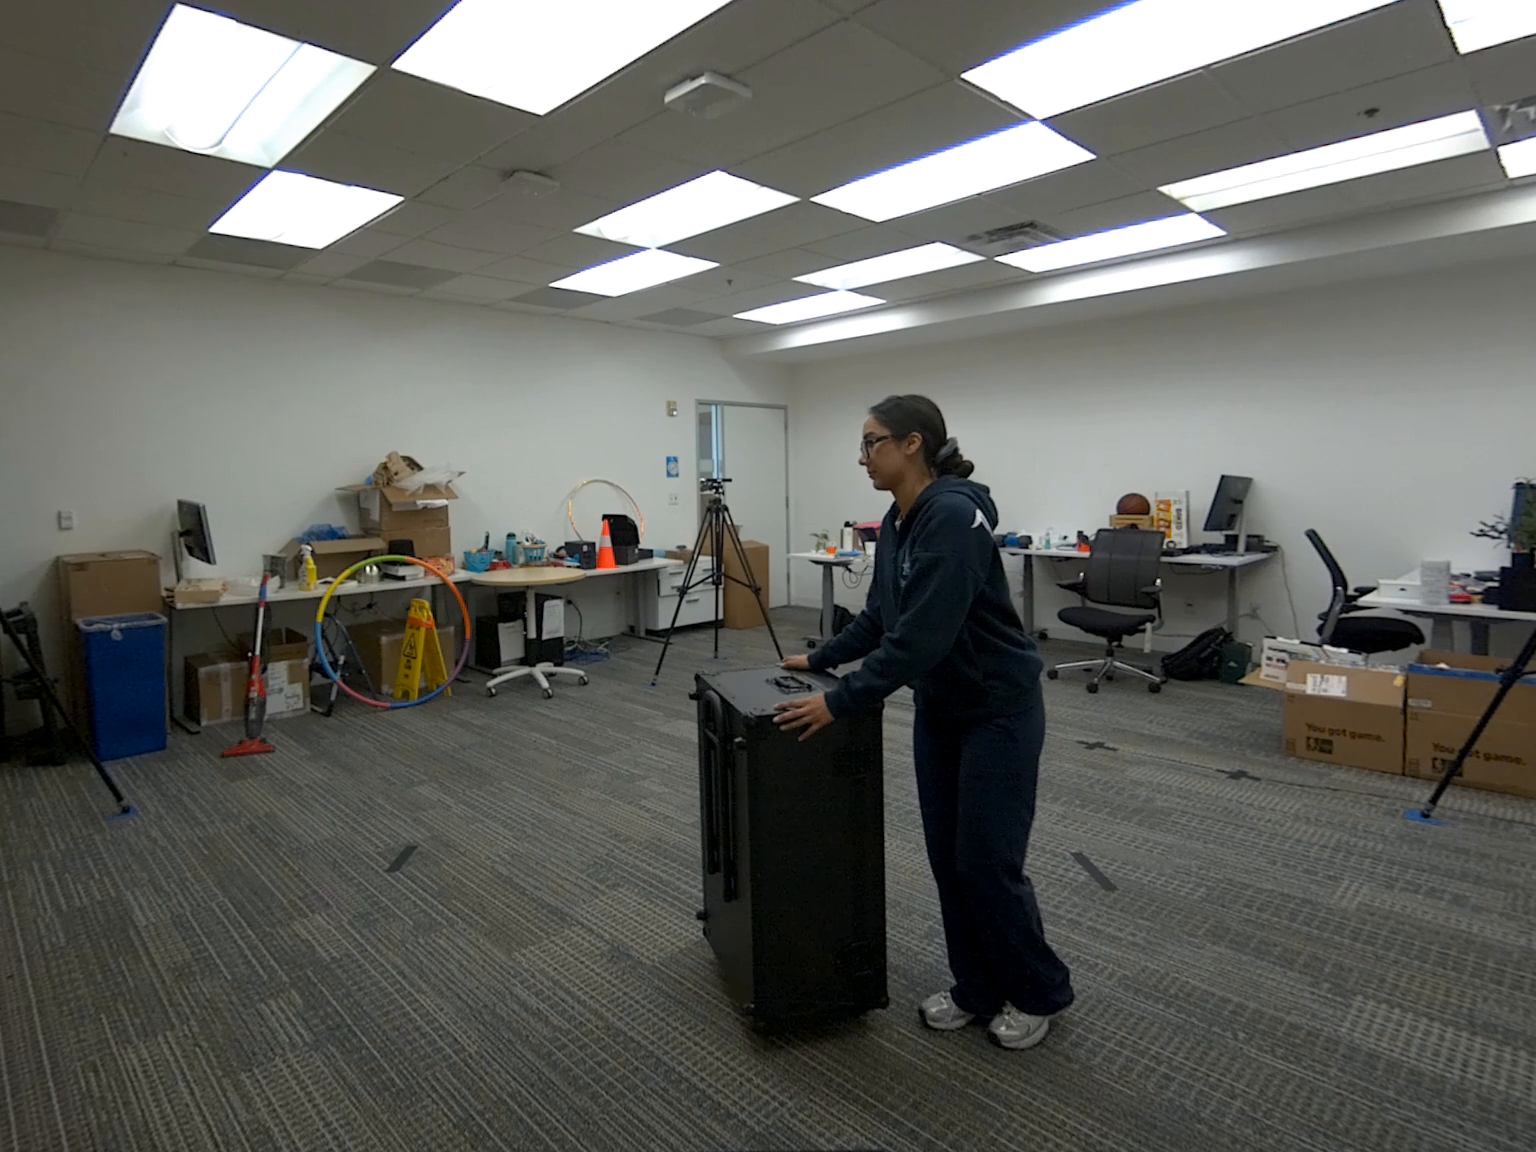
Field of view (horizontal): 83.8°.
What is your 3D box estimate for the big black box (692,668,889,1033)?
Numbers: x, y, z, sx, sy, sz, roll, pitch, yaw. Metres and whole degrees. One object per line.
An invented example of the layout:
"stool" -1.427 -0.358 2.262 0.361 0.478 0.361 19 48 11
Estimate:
"big black box" 0.052 0.709 2.283 0.389 0.858 0.533 -4 5 -21
